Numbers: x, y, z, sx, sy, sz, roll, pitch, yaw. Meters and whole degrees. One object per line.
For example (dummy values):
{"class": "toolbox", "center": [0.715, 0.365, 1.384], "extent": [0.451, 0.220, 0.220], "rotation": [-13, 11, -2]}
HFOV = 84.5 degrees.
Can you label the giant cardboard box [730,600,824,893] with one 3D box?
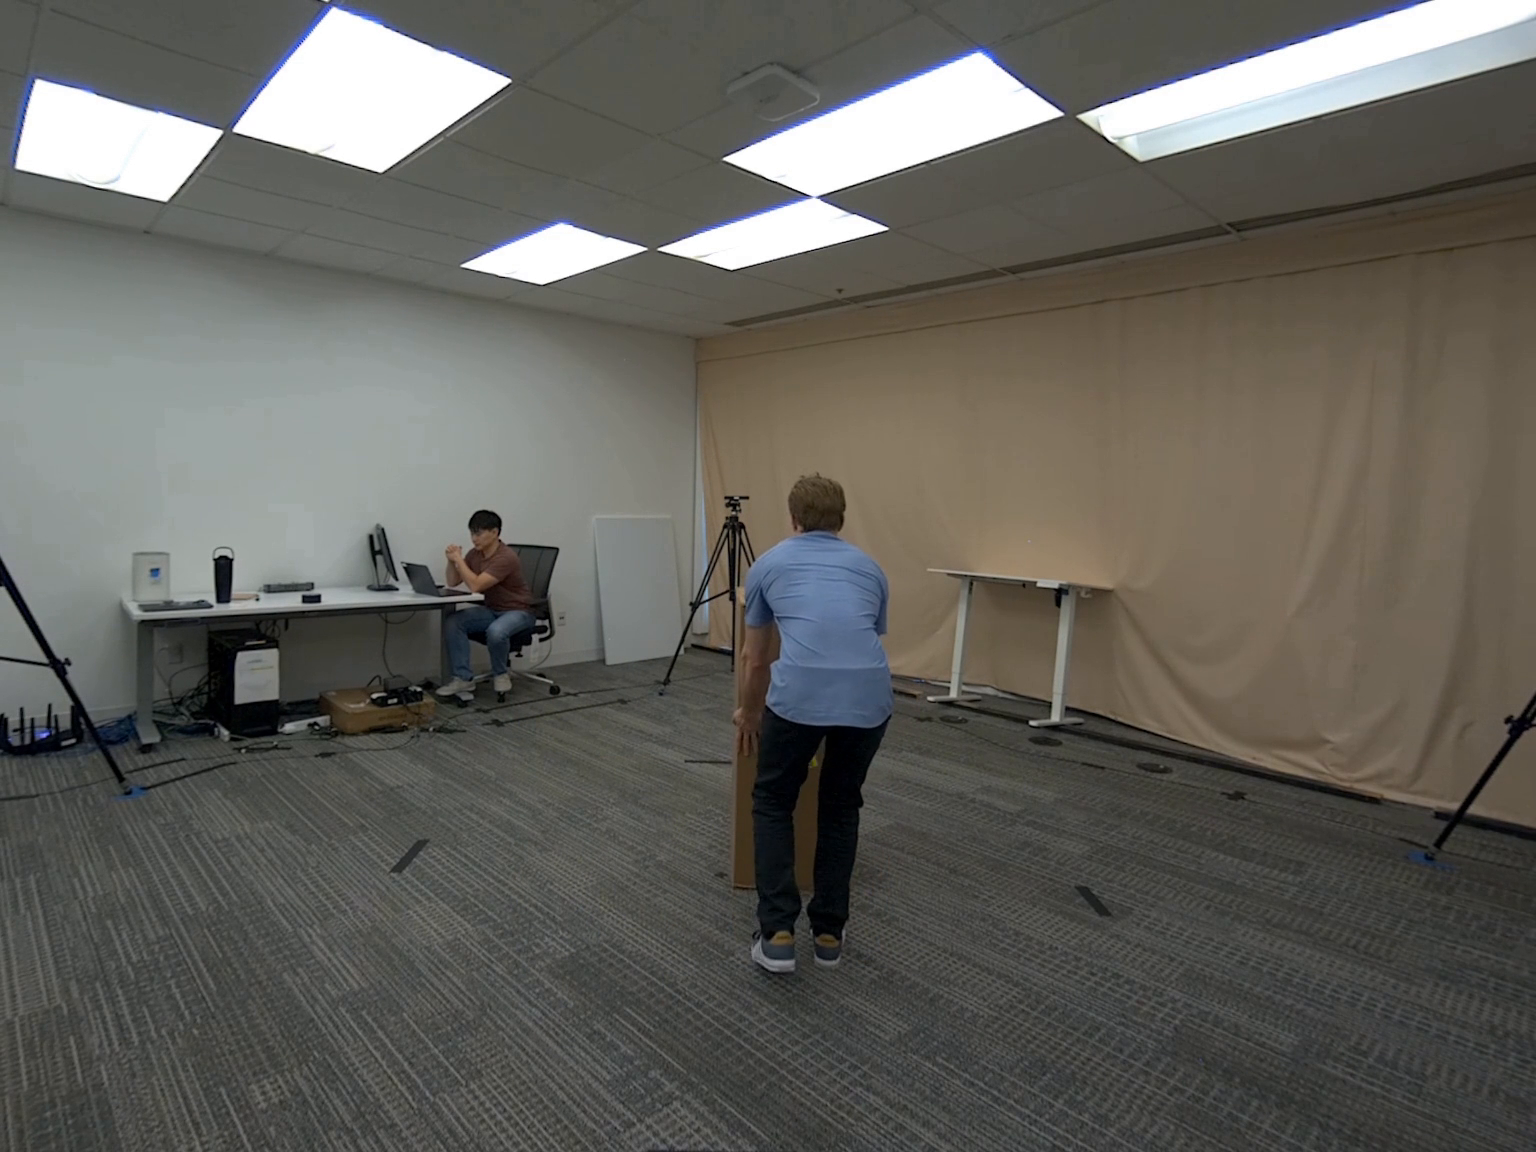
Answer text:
{"class": "giant cardboard box", "center": [0.082, 0.589, 3.259], "extent": [0.426, 1.024, 0.579], "rotation": [2, 3, -2]}
